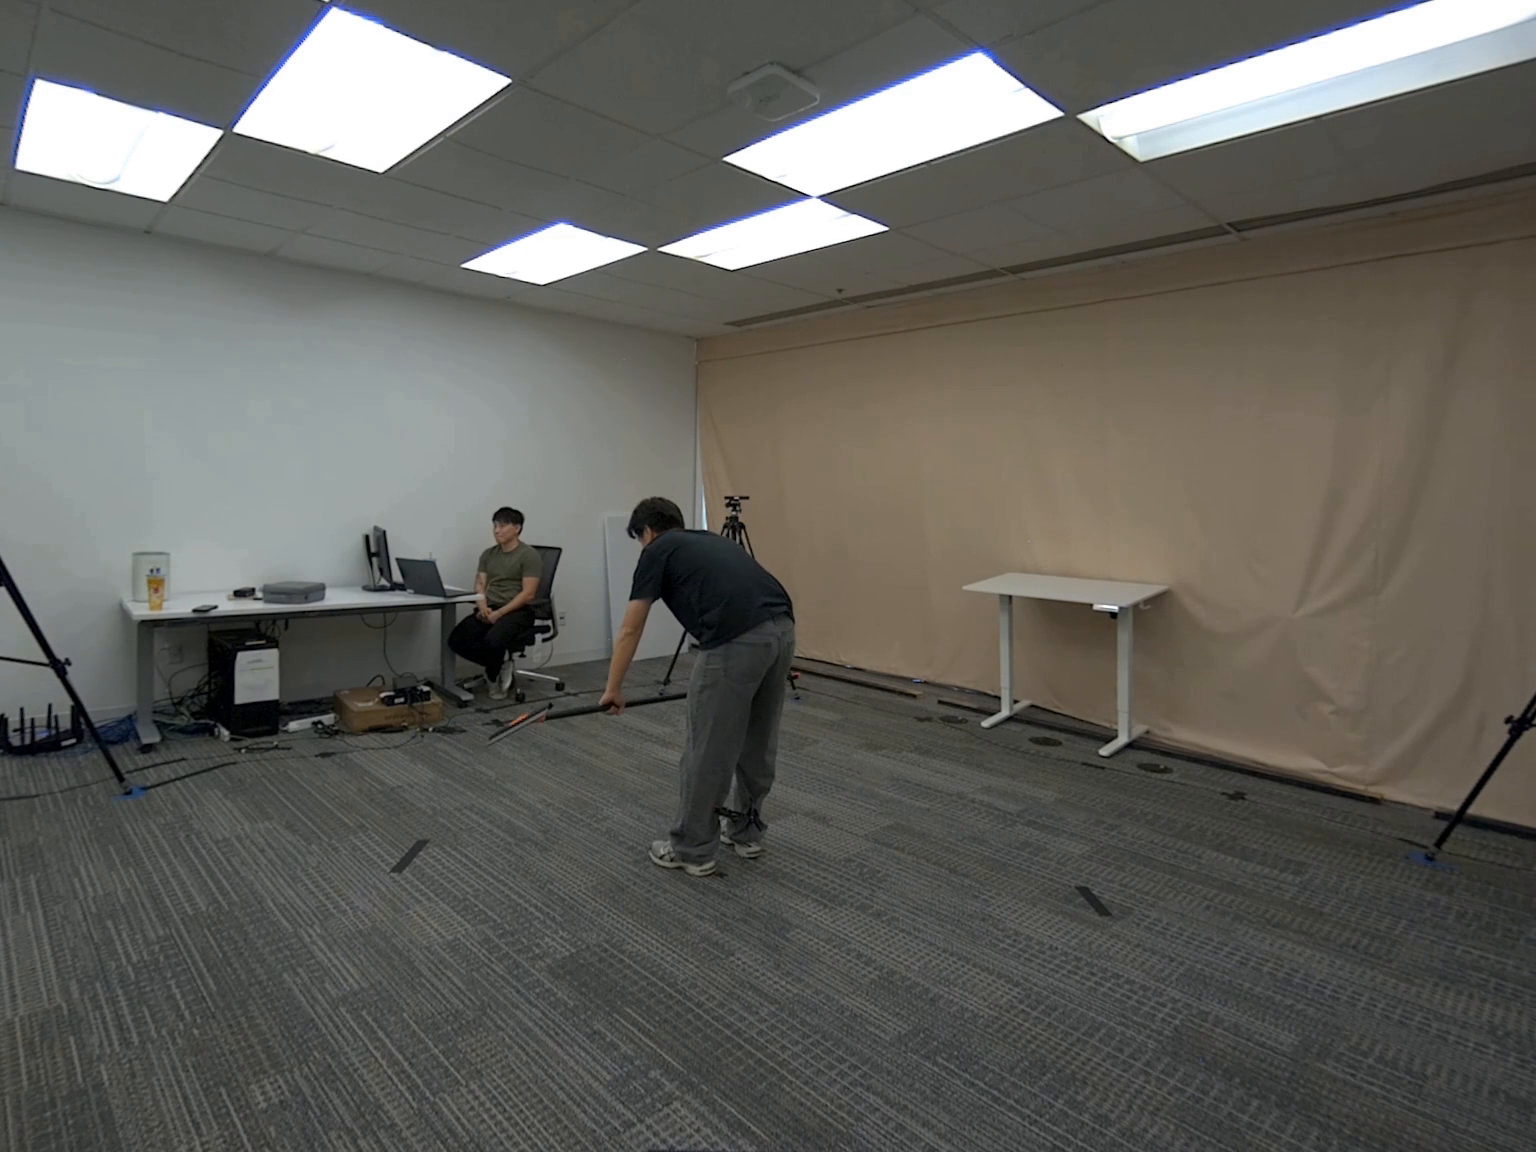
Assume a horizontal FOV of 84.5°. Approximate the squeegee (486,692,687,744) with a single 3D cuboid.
[{"bbox_3d":[-0.372,0.502,3.477,1.501,0.053,0.442,-1,-19,-45],"label":"squeegee"}]
